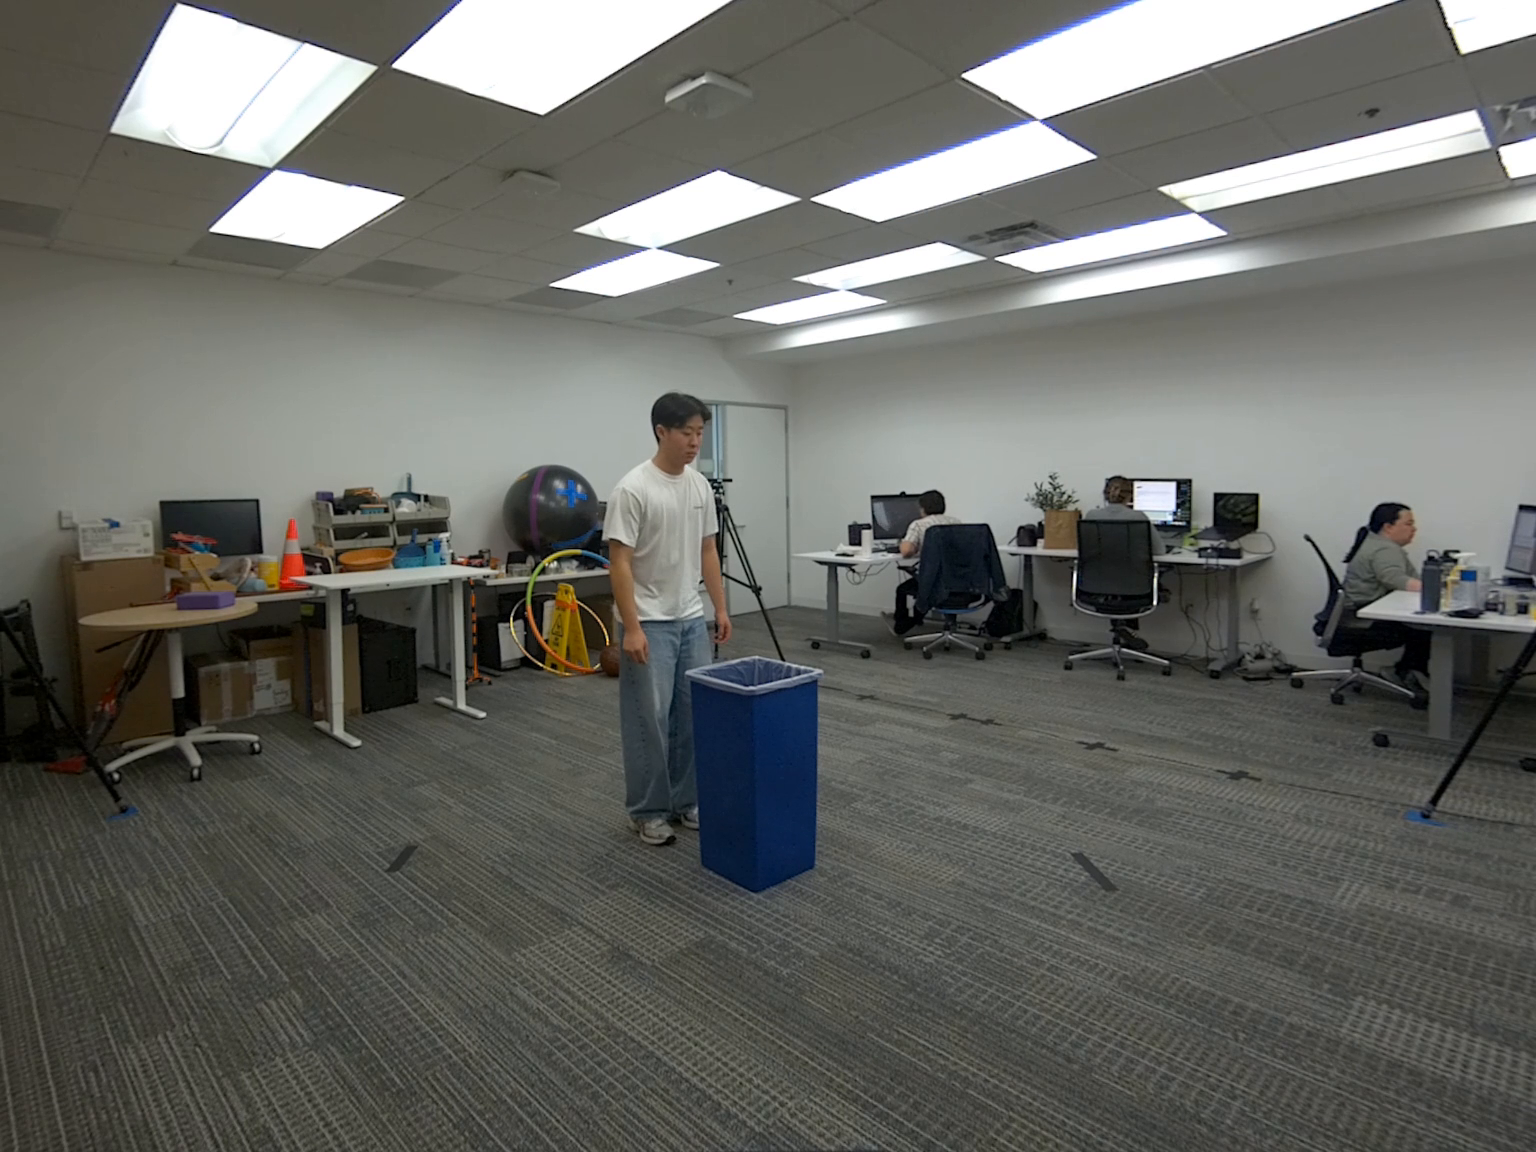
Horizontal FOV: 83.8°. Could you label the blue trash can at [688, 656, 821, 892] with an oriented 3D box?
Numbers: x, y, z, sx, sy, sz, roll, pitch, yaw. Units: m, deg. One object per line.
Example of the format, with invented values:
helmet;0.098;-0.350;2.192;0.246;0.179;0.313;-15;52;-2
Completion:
blue trash can;-0.041;0.693;3.055;0.364;0.711;0.389;-4;5;-43
